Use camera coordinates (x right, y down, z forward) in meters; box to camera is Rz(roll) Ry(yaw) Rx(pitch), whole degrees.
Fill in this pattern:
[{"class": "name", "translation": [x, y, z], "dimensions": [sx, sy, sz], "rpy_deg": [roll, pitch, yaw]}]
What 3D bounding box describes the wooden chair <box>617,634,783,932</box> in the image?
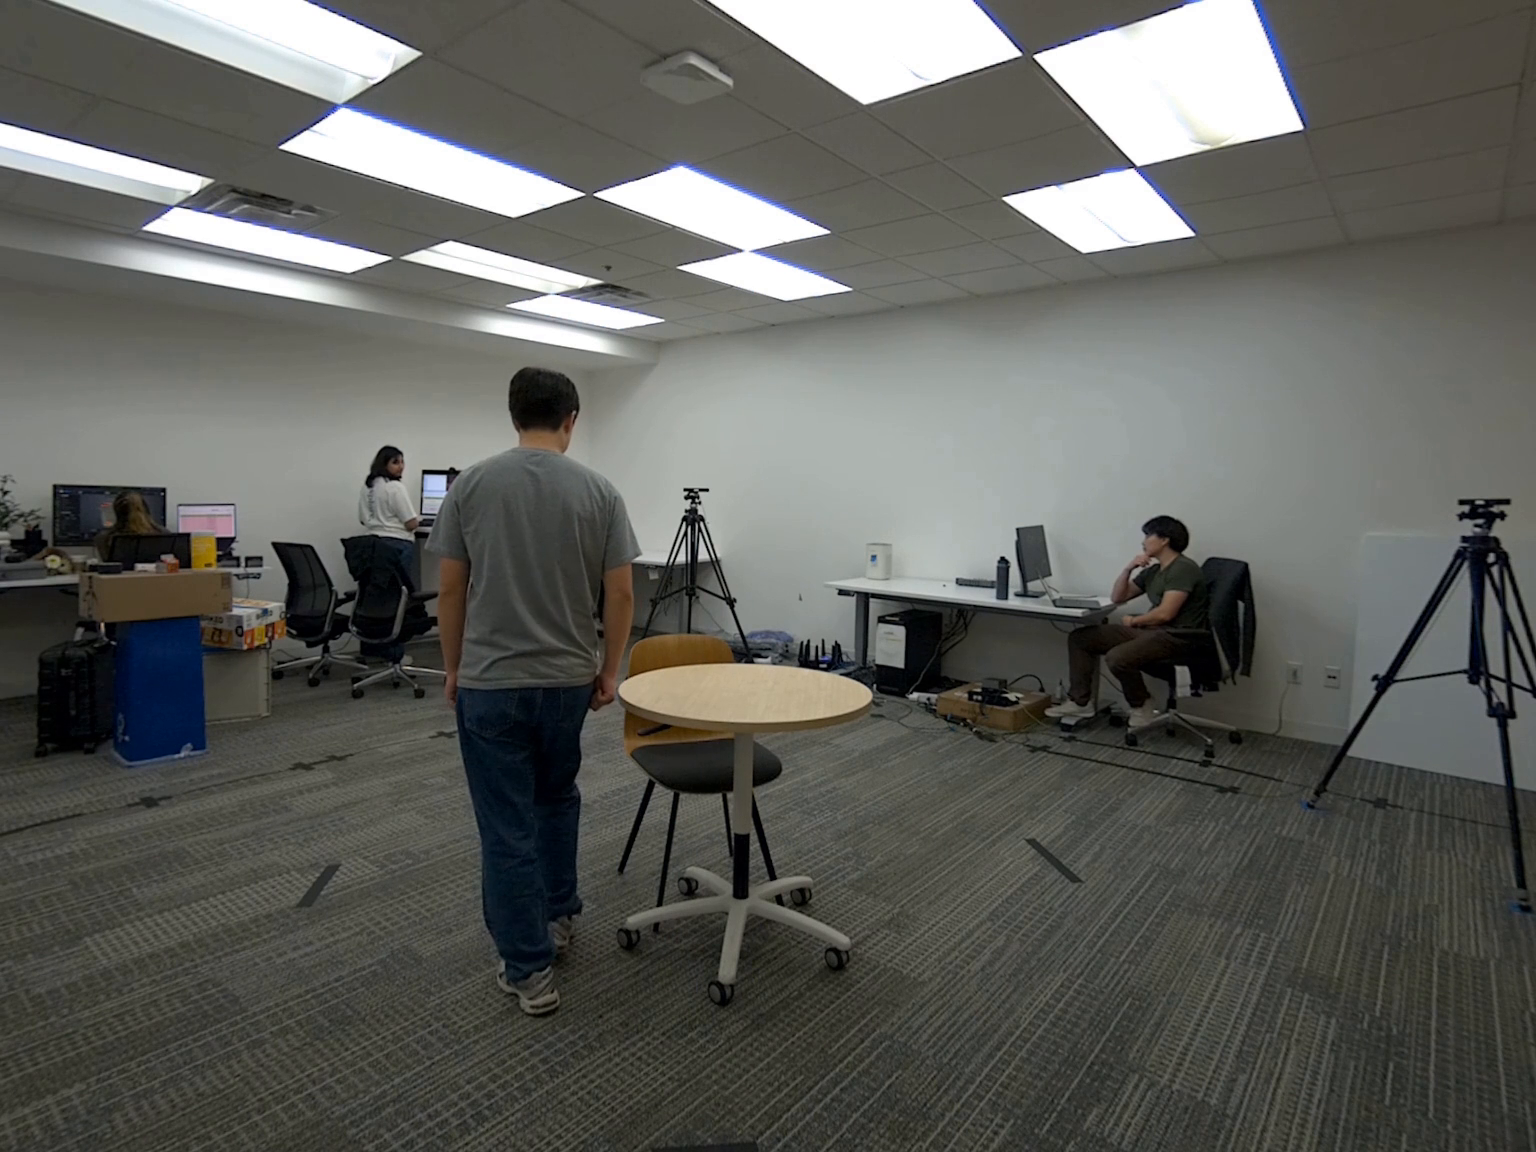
[{"class": "wooden chair", "translation": [-0.245, 0.656, 2.915], "dimensions": [0.467, 0.879, 0.534], "rpy_deg": [0, -1, -23]}]
